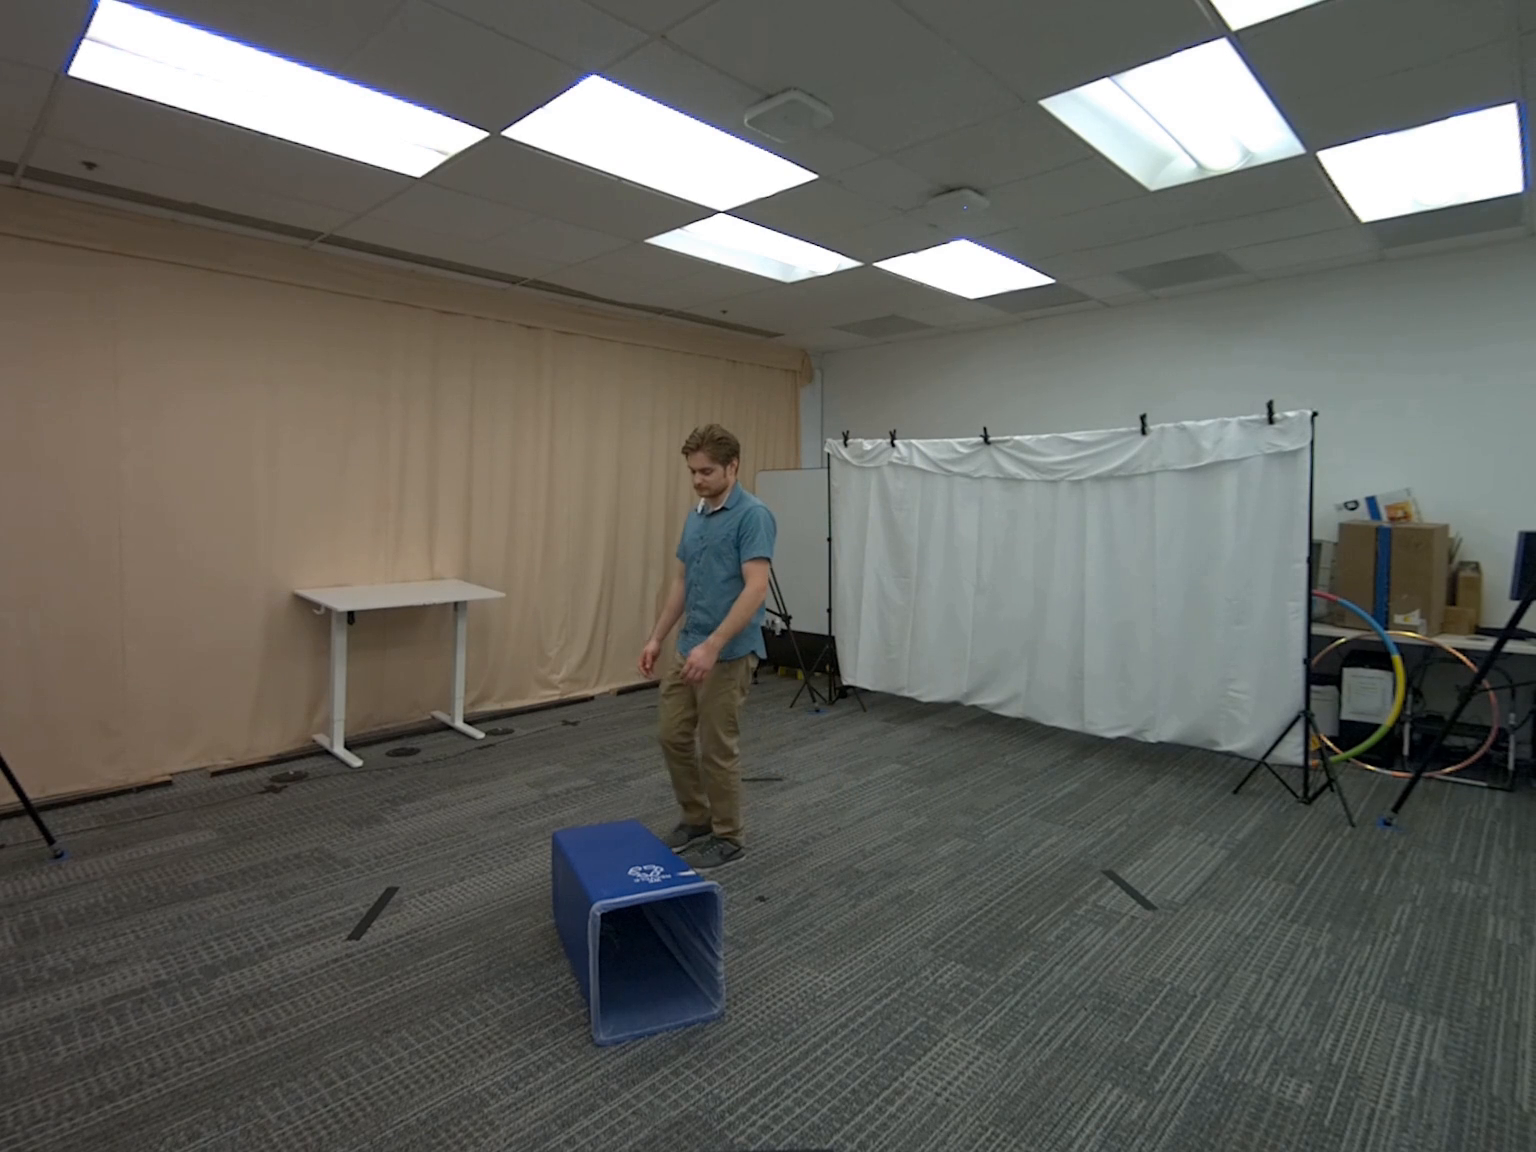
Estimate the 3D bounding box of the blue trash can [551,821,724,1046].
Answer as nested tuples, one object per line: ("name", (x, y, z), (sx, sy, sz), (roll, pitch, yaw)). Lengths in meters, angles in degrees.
("blue trash can", (-0.438, 1.013, 2.551), (0.365, 0.378, 0.731), (-2, 2, -25))
